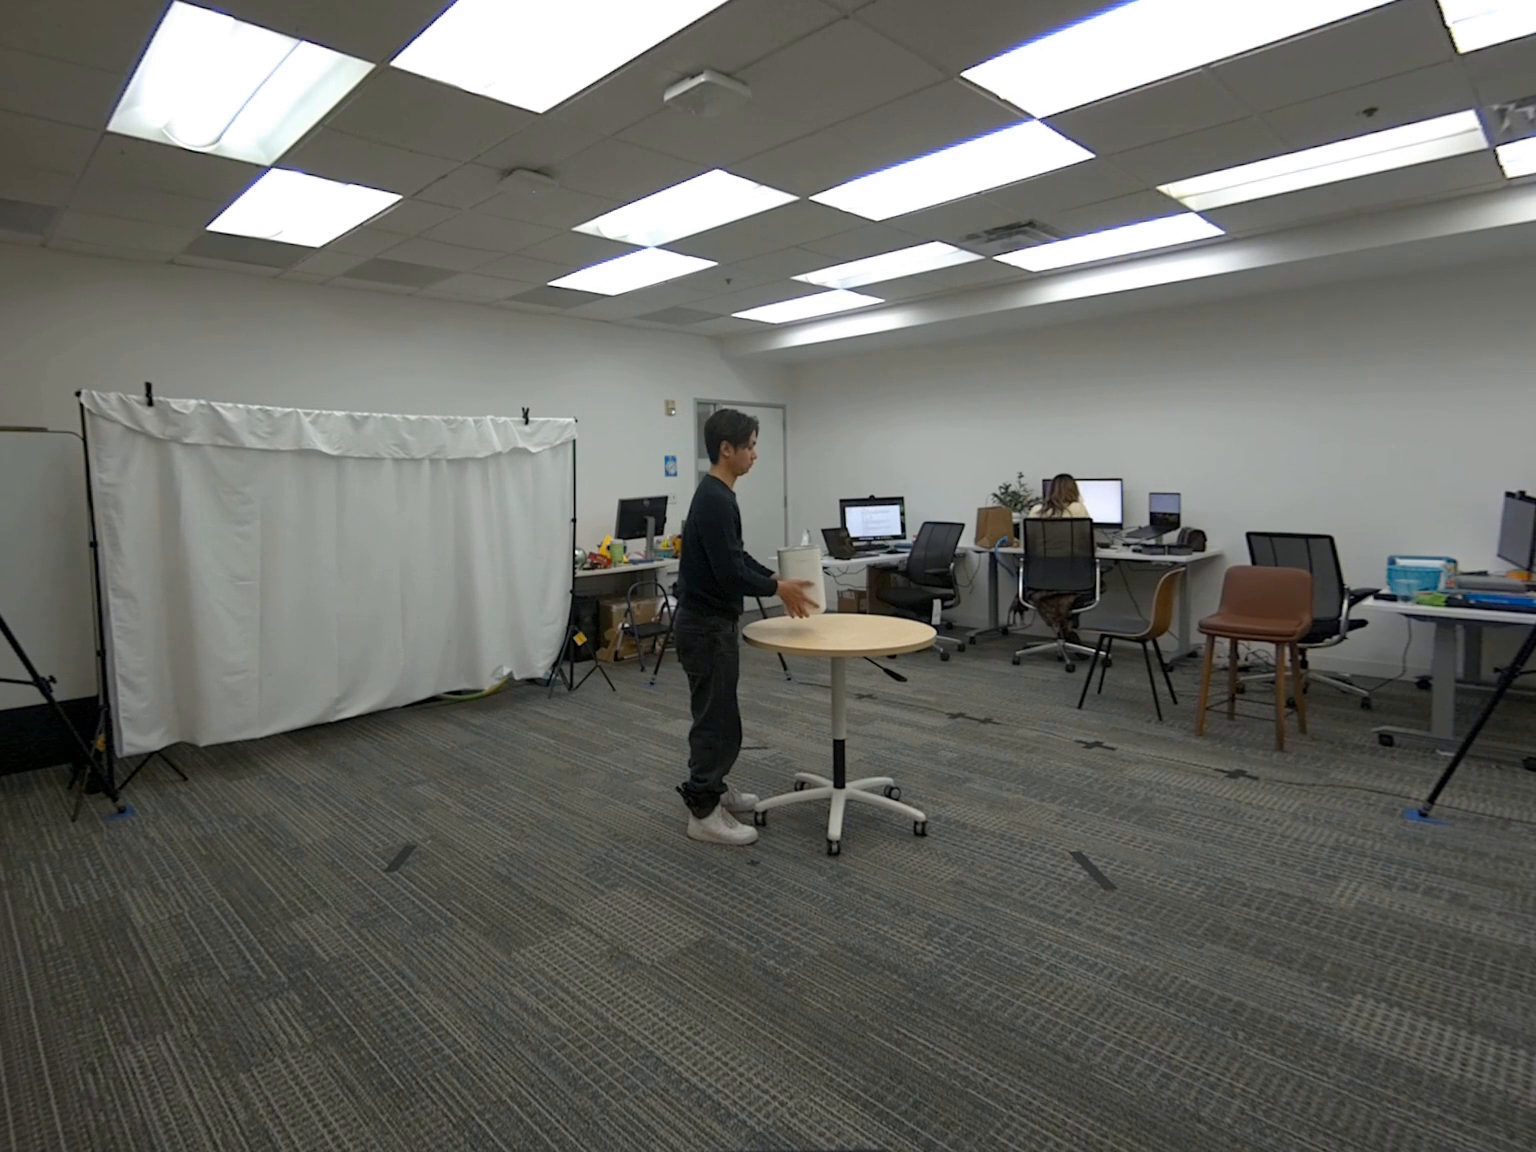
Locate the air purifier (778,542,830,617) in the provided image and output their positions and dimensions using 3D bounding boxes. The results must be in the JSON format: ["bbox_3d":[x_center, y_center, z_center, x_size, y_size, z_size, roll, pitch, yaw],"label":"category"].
[{"bbox_3d":[0.139,0.010,3.385,0.171,0.265,0.171,-5,2,2],"label":"air purifier"}]
